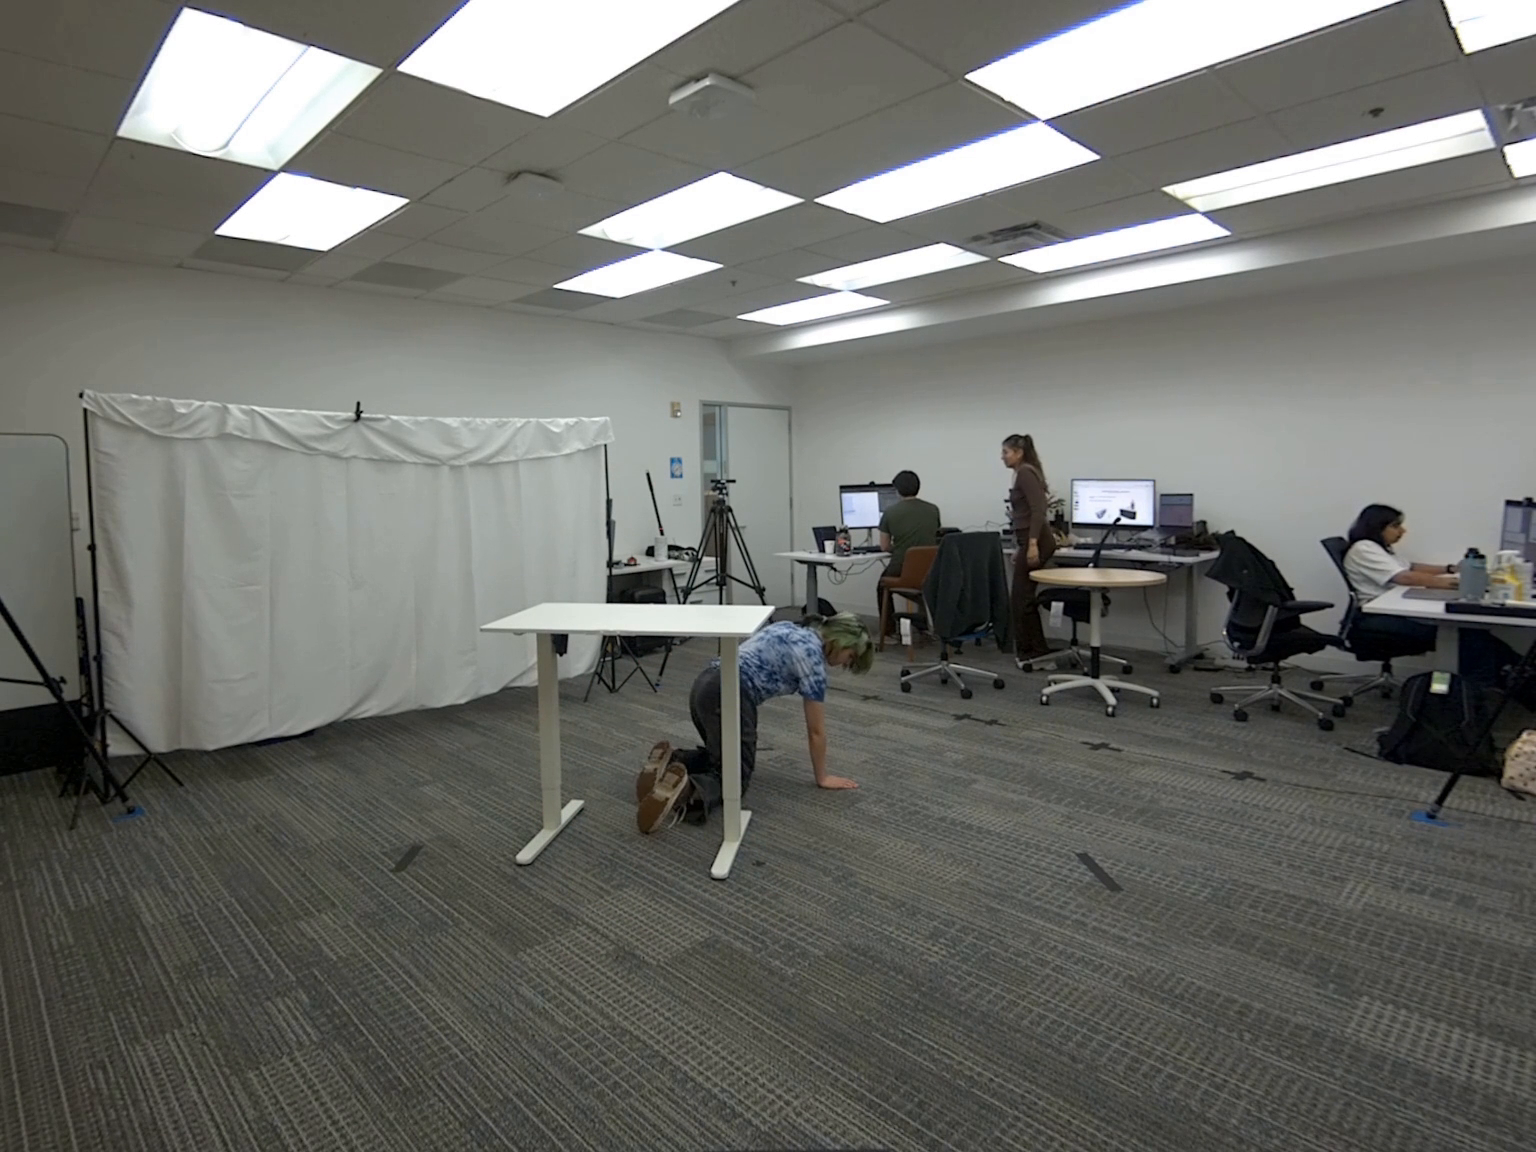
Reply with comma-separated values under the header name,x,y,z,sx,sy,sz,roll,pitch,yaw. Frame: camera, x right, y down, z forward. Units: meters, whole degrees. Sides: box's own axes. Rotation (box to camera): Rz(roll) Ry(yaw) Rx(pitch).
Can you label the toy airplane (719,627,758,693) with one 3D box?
name,x,y,z,sx,sy,sz,roll,pitch,yaw
toy airplane,-0.055,0.436,4.131,0.252,0.252,0.160,-40,26,25
